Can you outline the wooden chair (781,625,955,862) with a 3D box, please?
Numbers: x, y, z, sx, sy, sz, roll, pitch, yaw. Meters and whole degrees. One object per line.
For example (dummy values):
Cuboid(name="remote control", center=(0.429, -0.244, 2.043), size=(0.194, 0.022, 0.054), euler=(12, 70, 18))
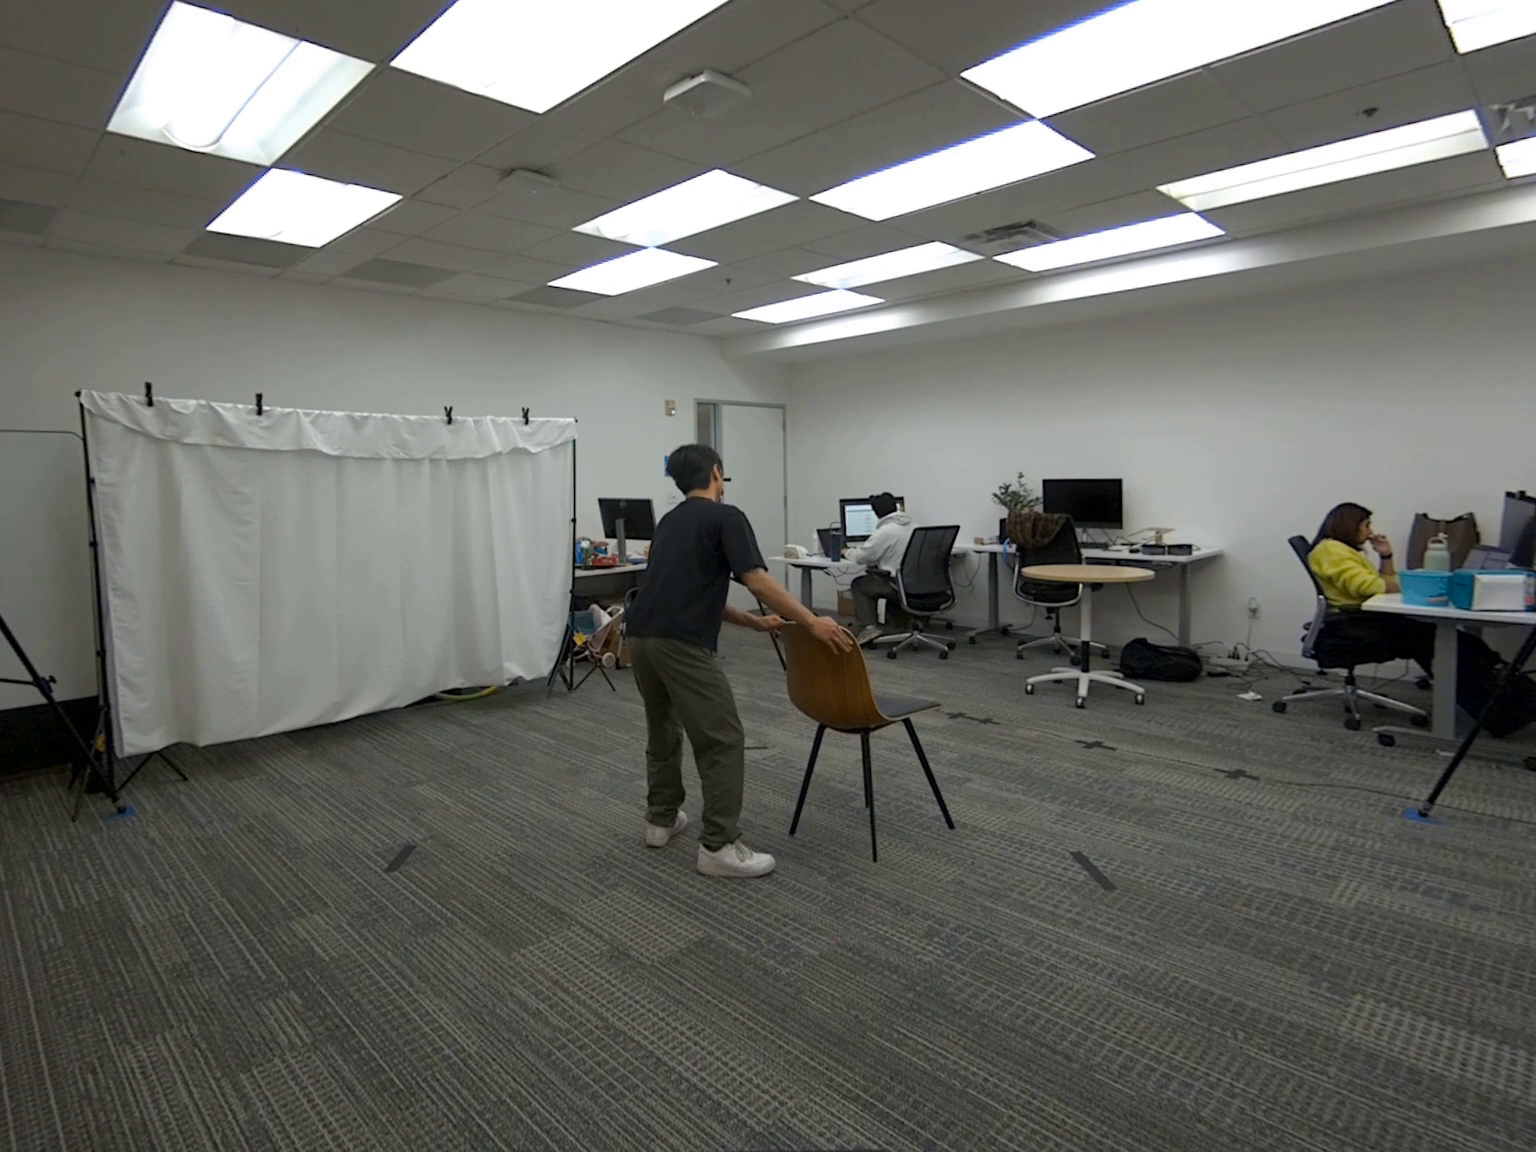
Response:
Cuboid(name="wooden chair", center=(0.369, 0.563, 3.315), size=(0.511, 0.875, 0.491), euler=(-10, 4, -40))
